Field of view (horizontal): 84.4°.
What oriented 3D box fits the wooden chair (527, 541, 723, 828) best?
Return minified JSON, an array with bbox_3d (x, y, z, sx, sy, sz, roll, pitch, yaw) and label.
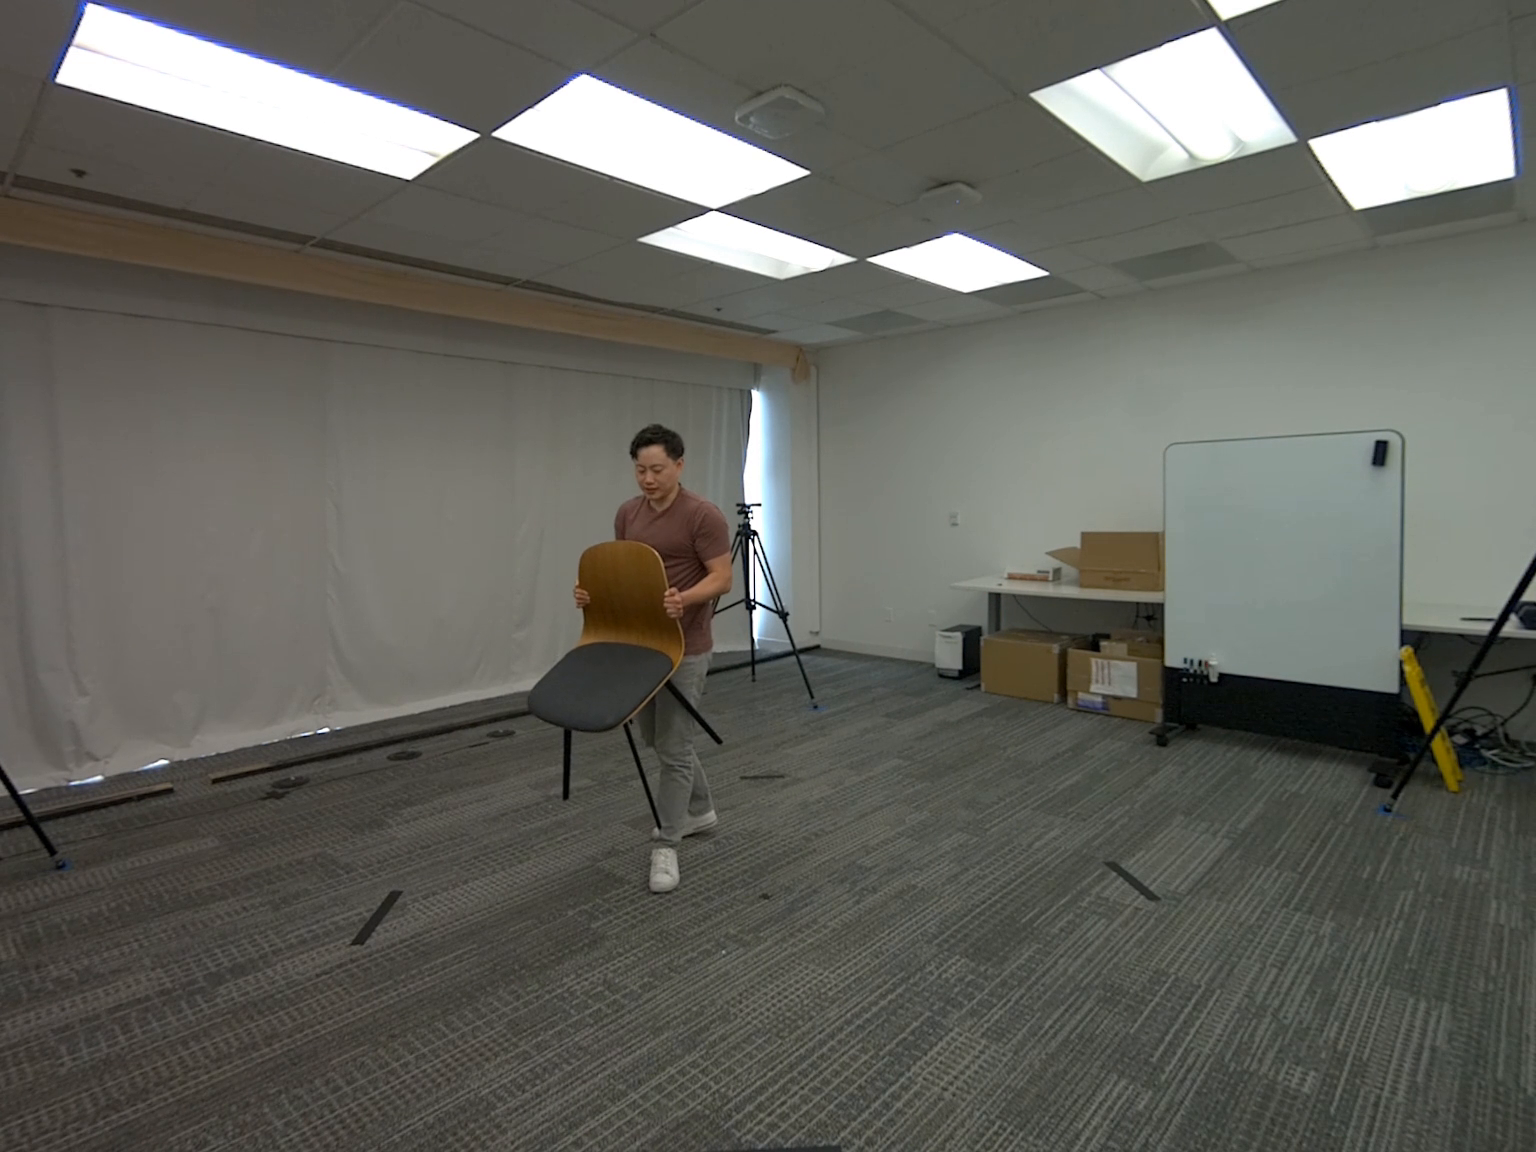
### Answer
[{"bbox_3d":[-0.545,0.384,2.983,0.493,0.862,0.516,6,28,31],"label":"wooden chair"}]
